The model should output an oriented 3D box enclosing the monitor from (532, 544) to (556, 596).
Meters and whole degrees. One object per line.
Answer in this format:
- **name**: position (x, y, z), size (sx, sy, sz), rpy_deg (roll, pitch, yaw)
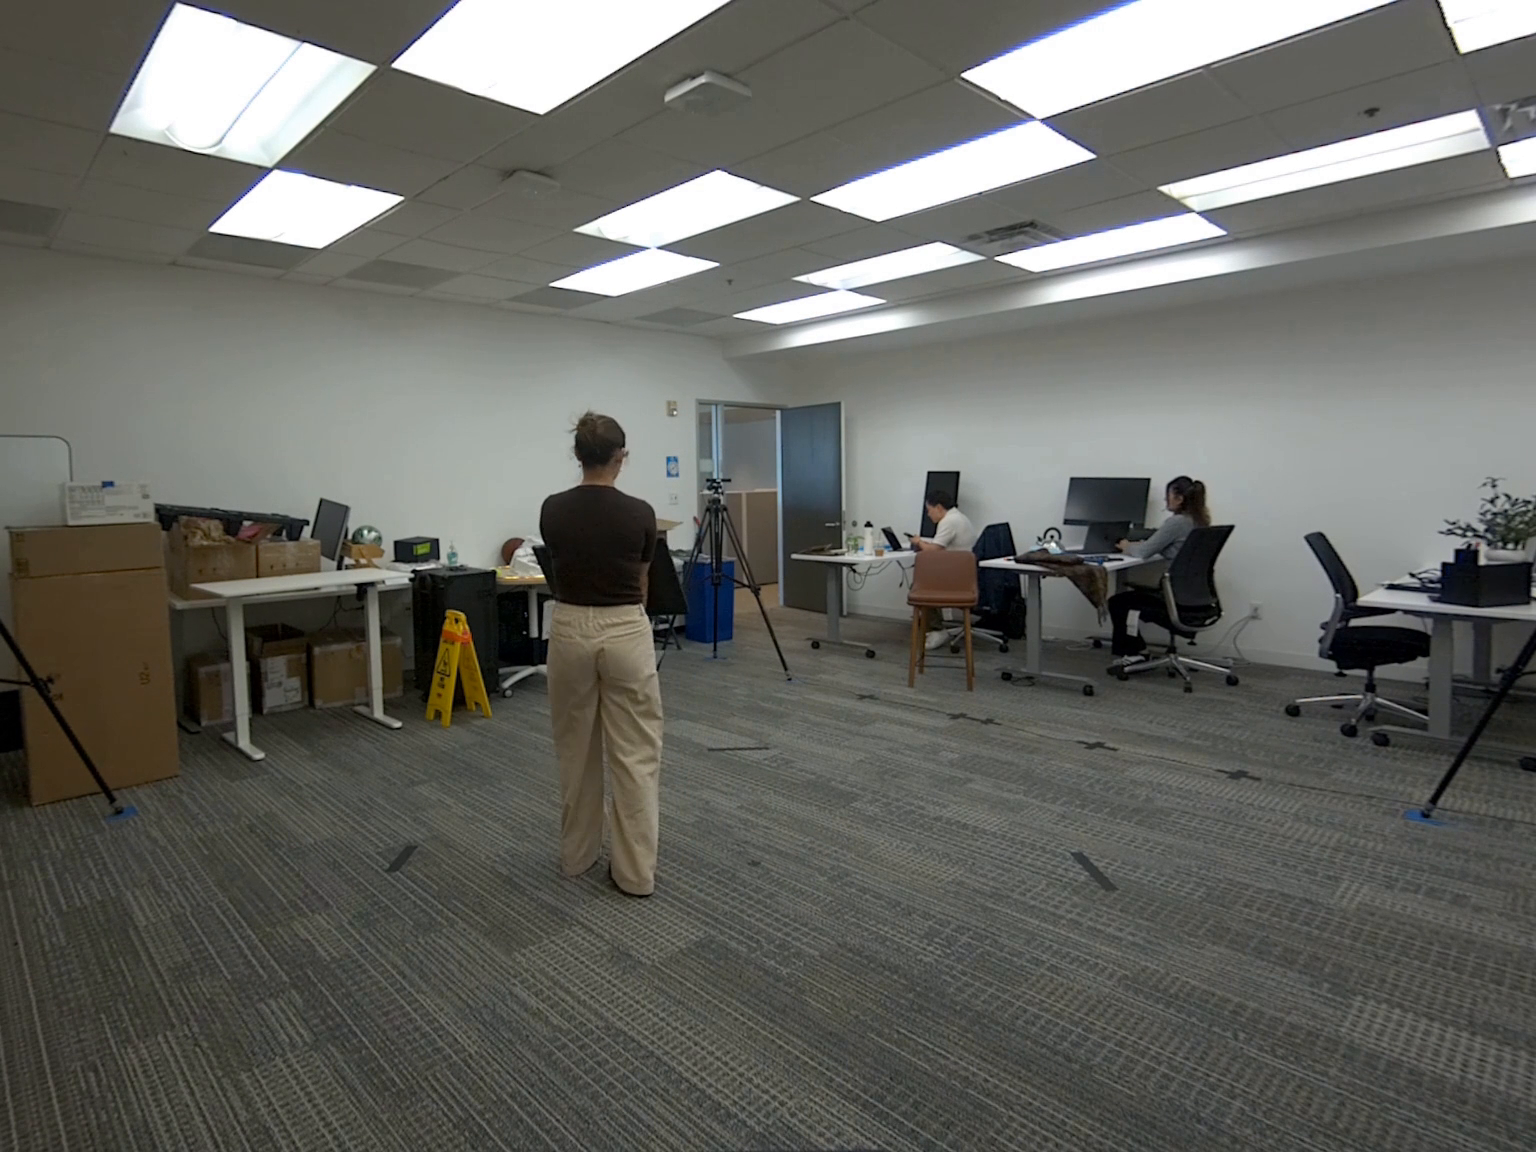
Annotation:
- **monitor**: position (-0.563, 0.110, 3.172), size (0.546, 0.512, 0.188), rpy_deg (-3, 22, 14)
